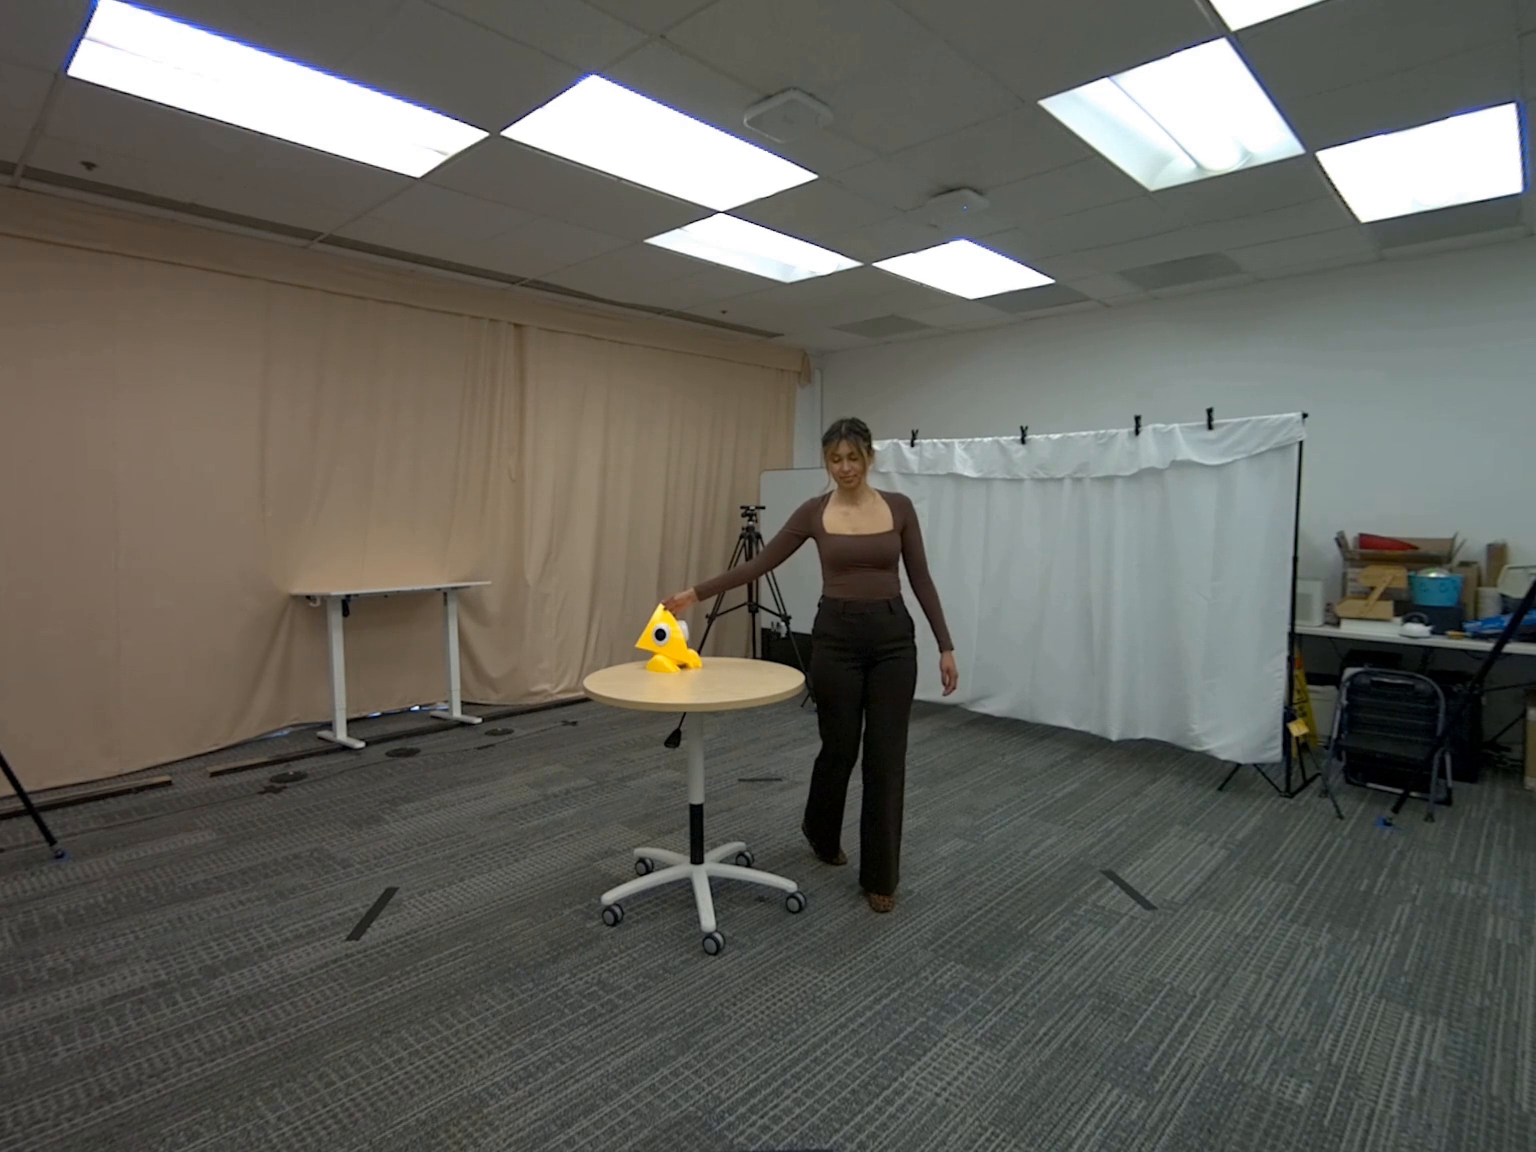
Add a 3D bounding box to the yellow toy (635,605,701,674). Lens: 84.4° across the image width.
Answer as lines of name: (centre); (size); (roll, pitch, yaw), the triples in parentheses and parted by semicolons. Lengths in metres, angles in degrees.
yellow toy: (-0.356, 0.226, 3.126); (0.199, 0.230, 0.198); (4, 6, 44)
